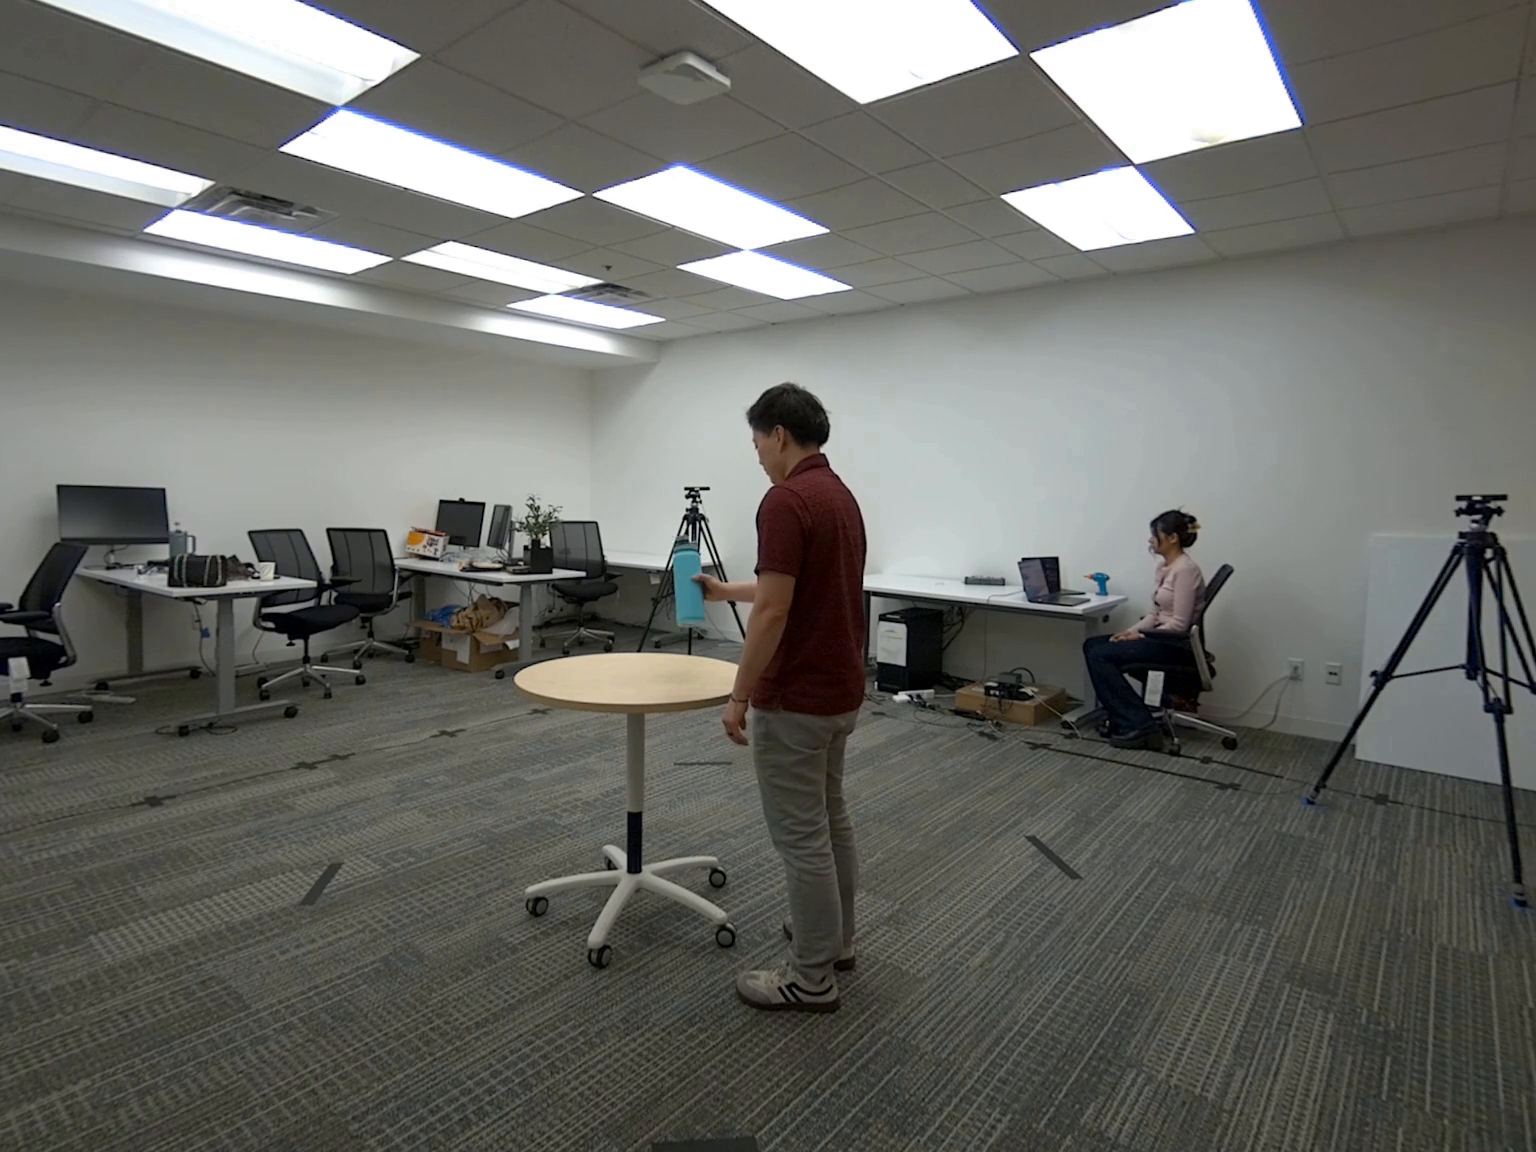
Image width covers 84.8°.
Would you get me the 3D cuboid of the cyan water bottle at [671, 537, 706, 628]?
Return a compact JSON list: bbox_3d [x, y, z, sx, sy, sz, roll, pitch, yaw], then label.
[{"bbox_3d":[-0.258,0.013,2.678,0.092,0.289,0.091,-5,-20,-3],"label":"cyan water bottle"}]
